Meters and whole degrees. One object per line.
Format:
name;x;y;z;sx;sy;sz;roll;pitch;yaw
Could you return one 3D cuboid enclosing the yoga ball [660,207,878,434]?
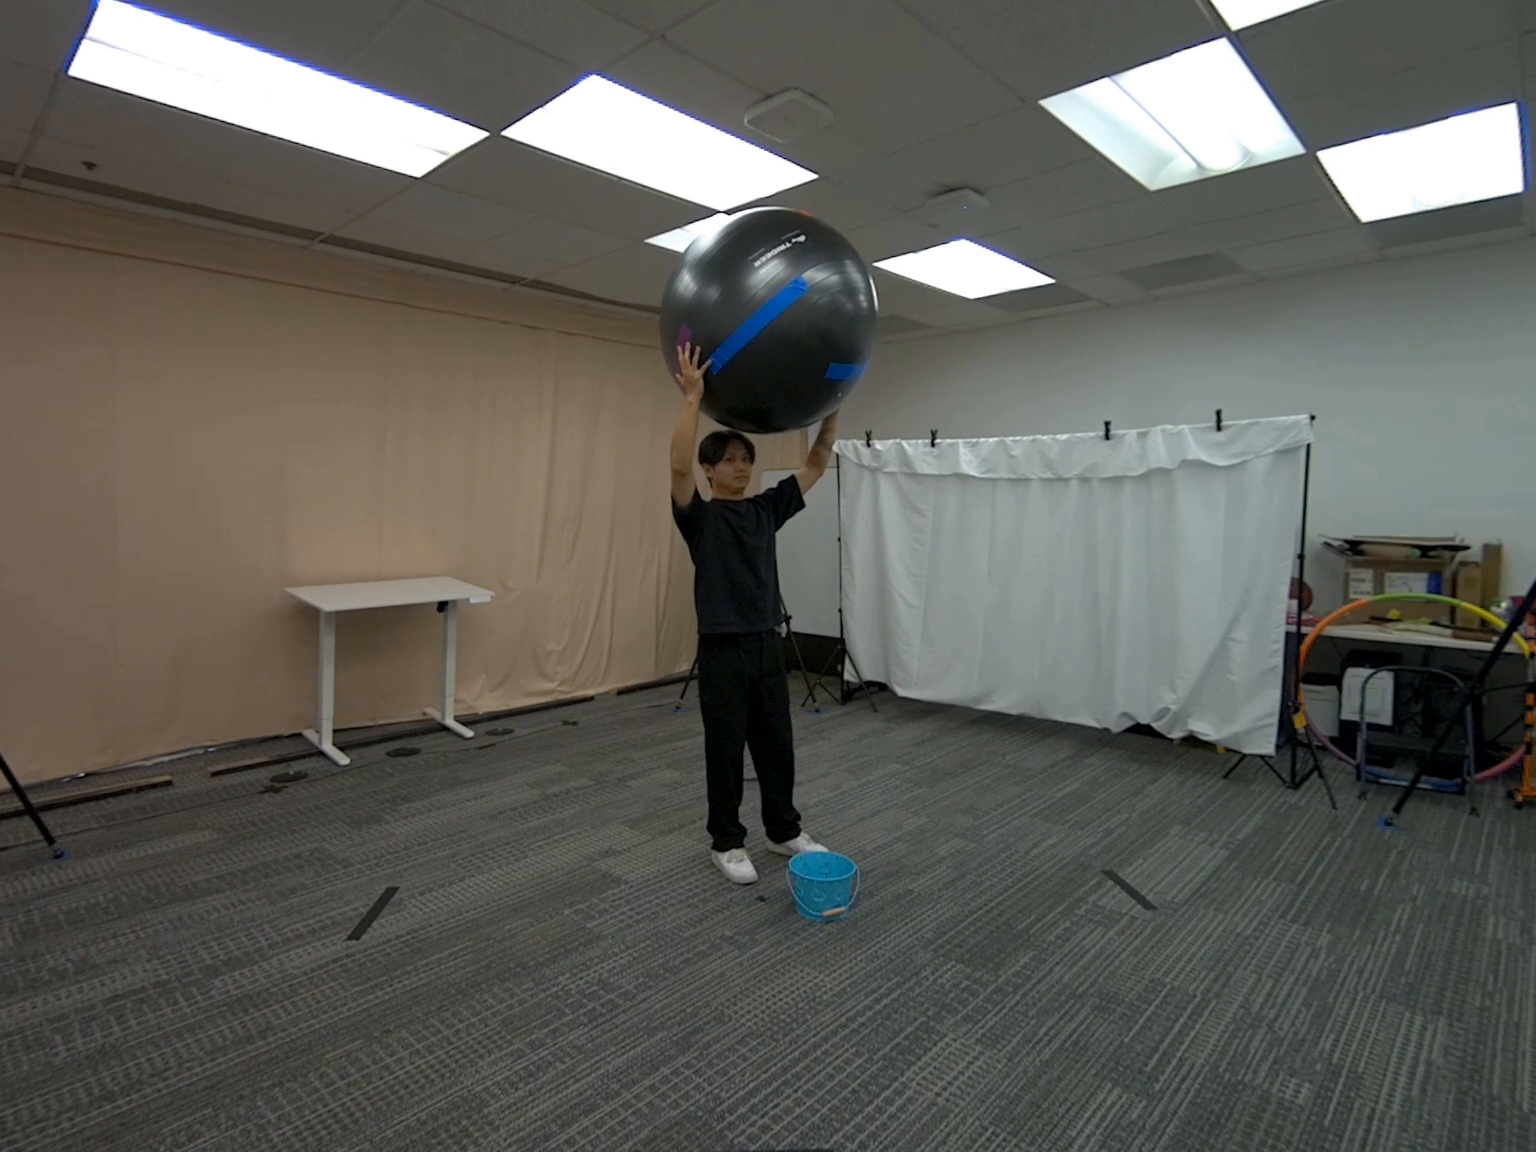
yoga ball;0.005;-0.873;2.943;0.757;0.756;0.760;0;4;-2
